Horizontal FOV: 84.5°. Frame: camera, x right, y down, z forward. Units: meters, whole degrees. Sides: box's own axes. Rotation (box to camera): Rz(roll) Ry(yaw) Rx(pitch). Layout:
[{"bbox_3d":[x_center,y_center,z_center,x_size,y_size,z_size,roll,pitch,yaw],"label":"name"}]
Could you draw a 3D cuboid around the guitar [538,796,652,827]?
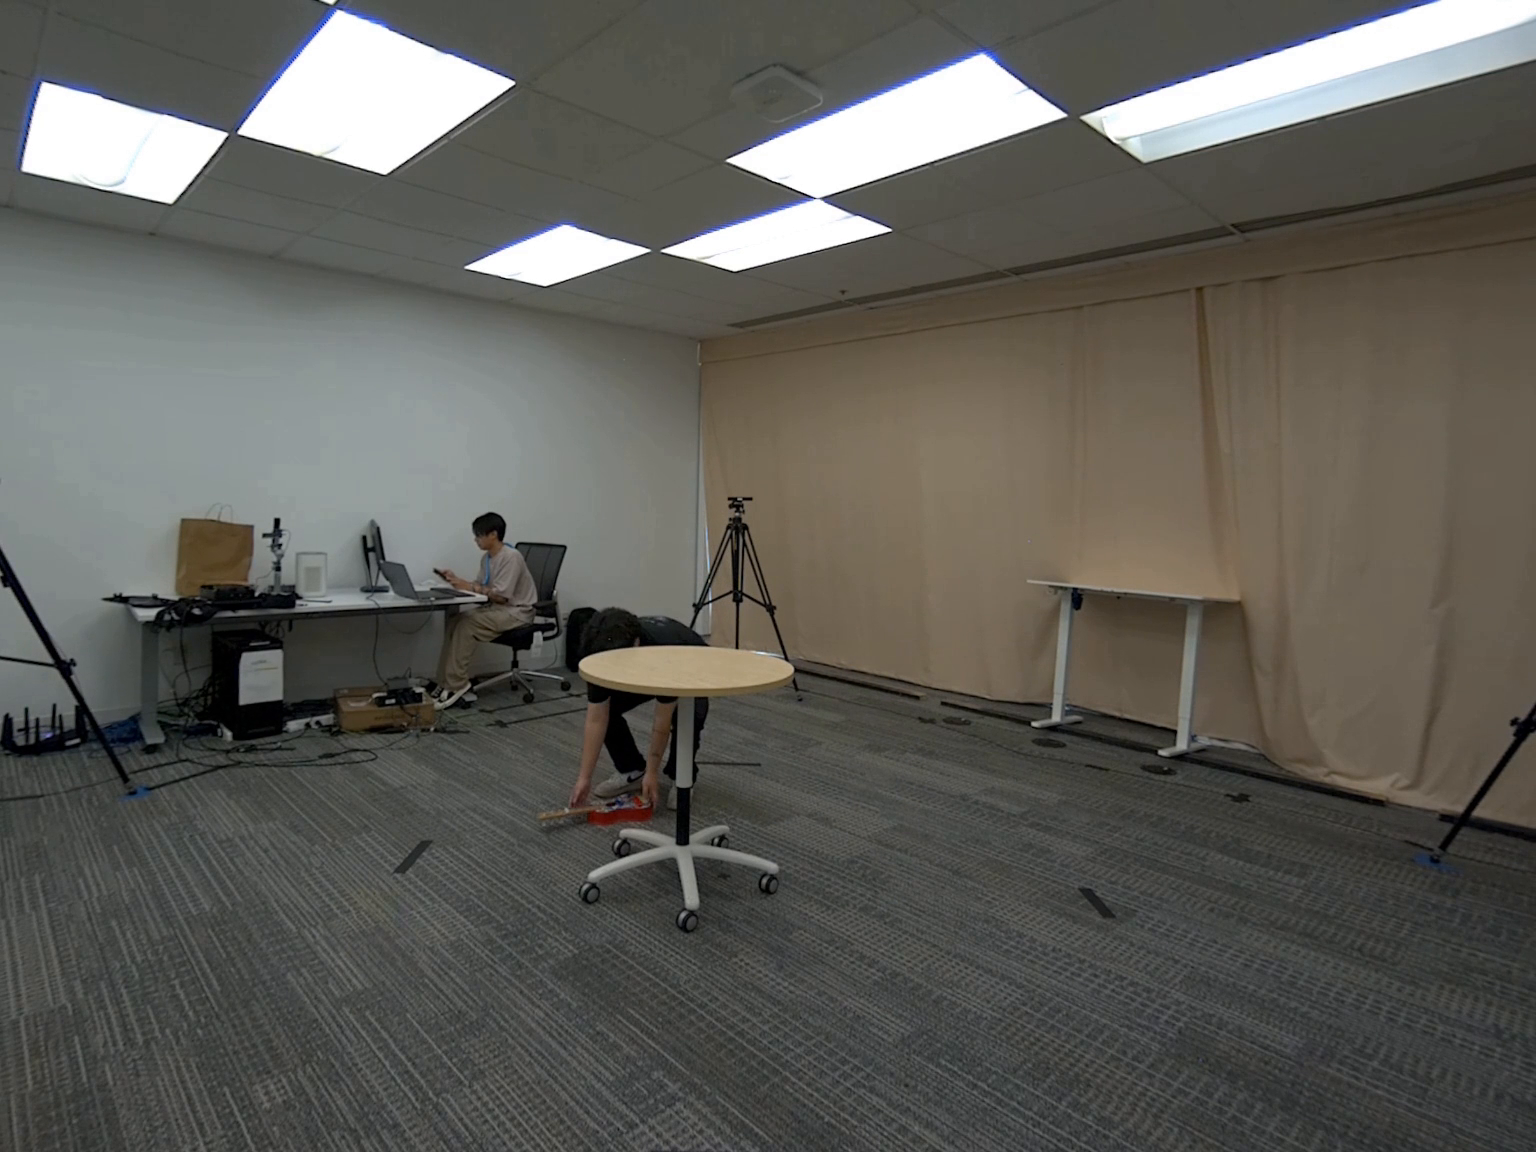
[{"bbox_3d":[-0.766,1.015,3.629,0.489,0.070,0.197,0,5,-23],"label":"guitar"}]
